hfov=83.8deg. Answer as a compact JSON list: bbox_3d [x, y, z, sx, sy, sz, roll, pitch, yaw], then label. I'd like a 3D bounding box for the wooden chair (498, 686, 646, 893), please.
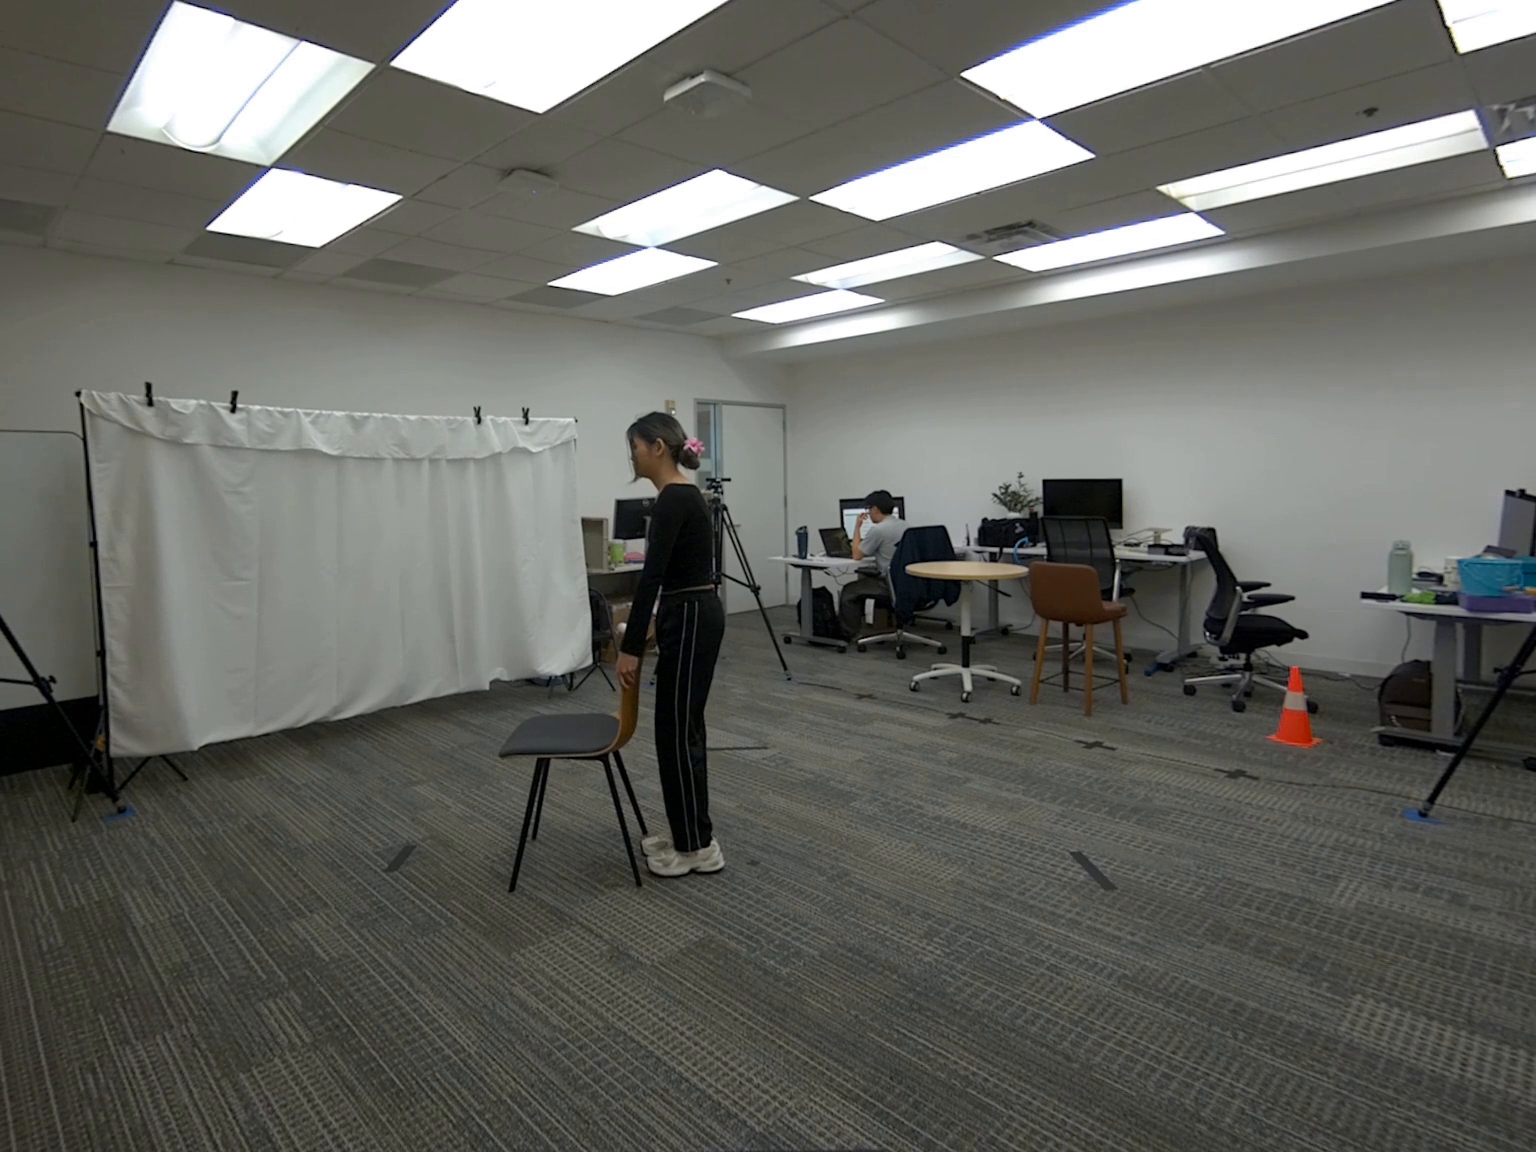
[{"bbox_3d":[-0.695,0.627,3.105,0.521,0.874,0.482,3,5,-4],"label":"wooden chair"}]
